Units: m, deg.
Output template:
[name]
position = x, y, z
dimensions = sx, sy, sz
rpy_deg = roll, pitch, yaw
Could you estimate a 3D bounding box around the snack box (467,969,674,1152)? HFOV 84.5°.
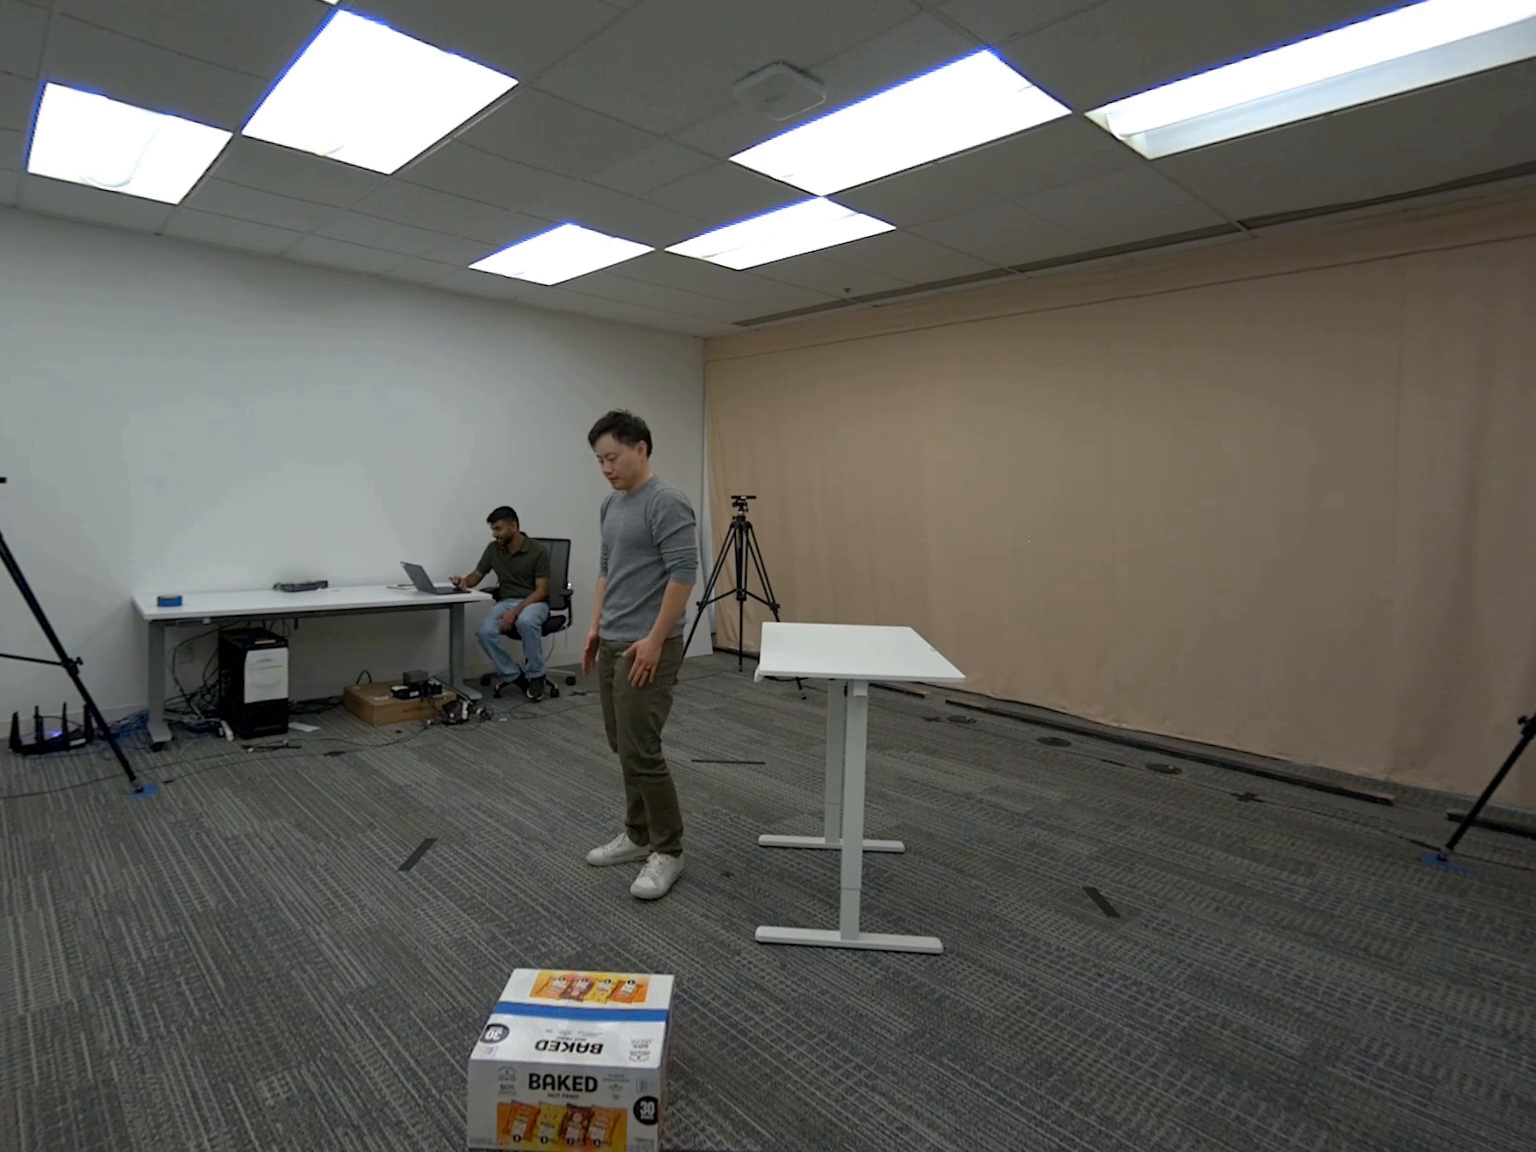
[snack box]
position = -0.440, 1.107, 1.919
dimensions = 0.405, 0.205, 0.341
rpy_deg = 2, 4, 0
